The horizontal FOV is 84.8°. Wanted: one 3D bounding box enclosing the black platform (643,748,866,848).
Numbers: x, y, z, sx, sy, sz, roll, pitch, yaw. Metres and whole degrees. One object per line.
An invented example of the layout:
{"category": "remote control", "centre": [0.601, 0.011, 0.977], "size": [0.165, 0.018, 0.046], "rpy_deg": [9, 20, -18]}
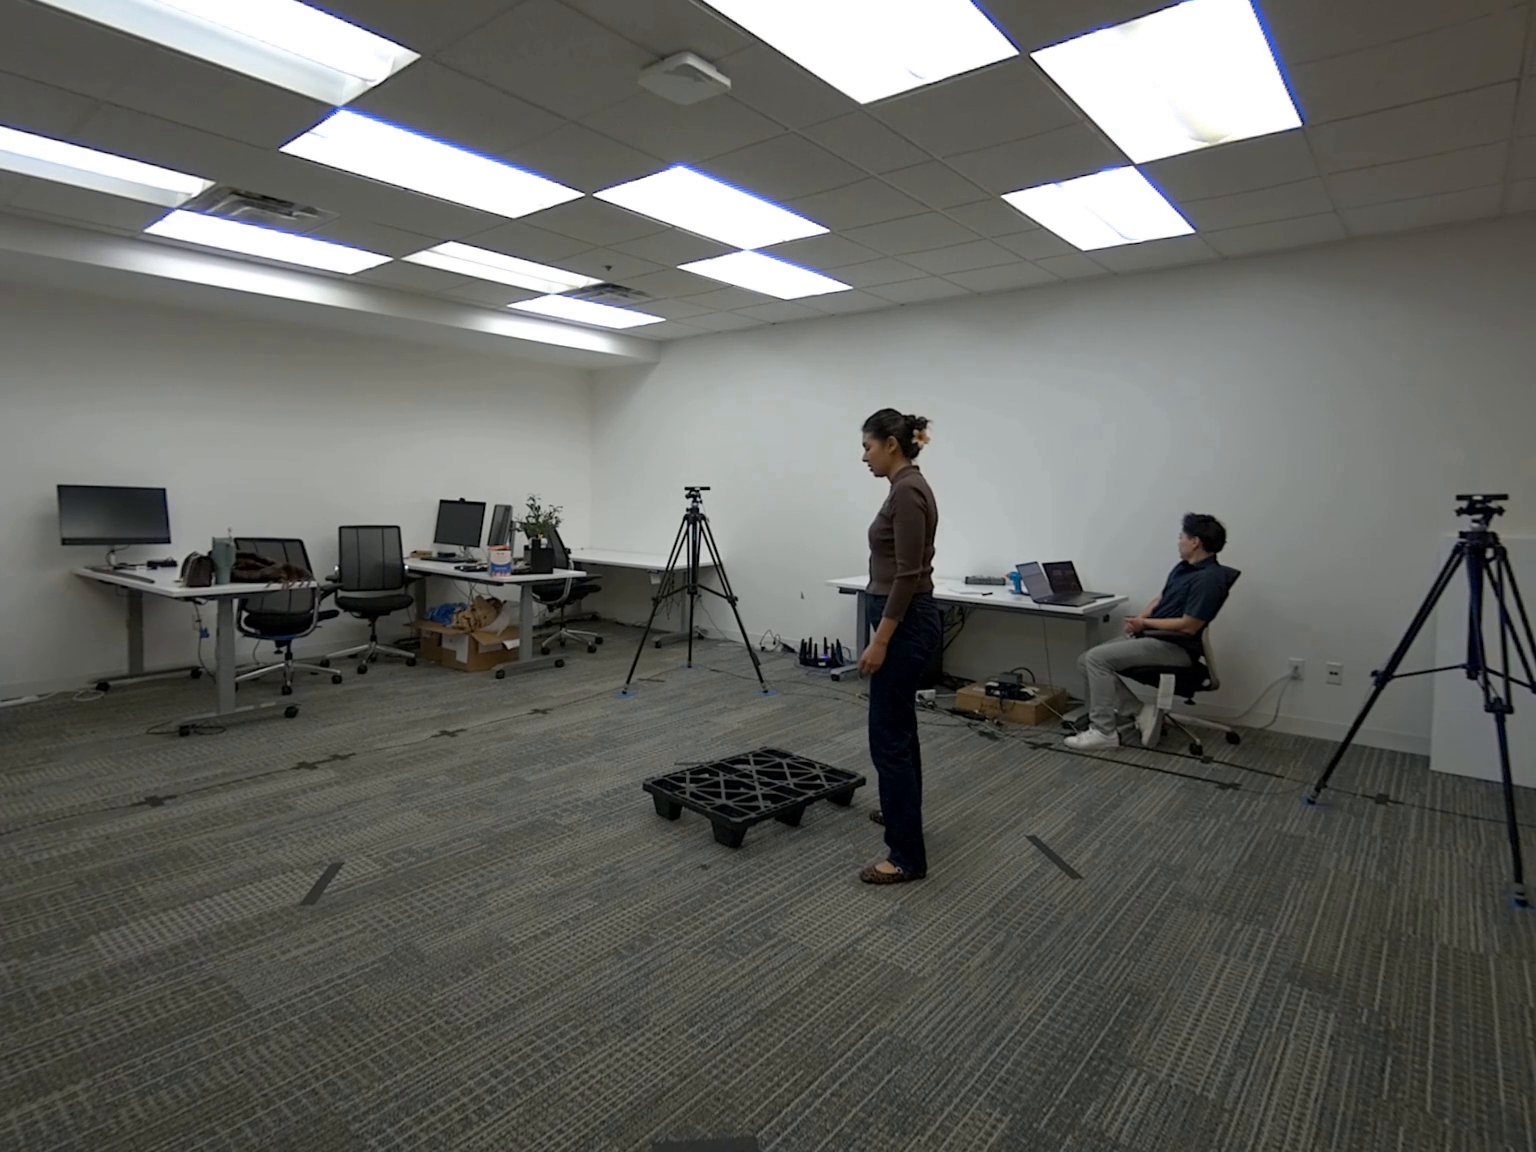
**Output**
{"category": "black platform", "centre": [-0.059, 0.942, 3.691], "size": [0.781, 0.142, 0.626], "rpy_deg": [-5, 9, -44]}
